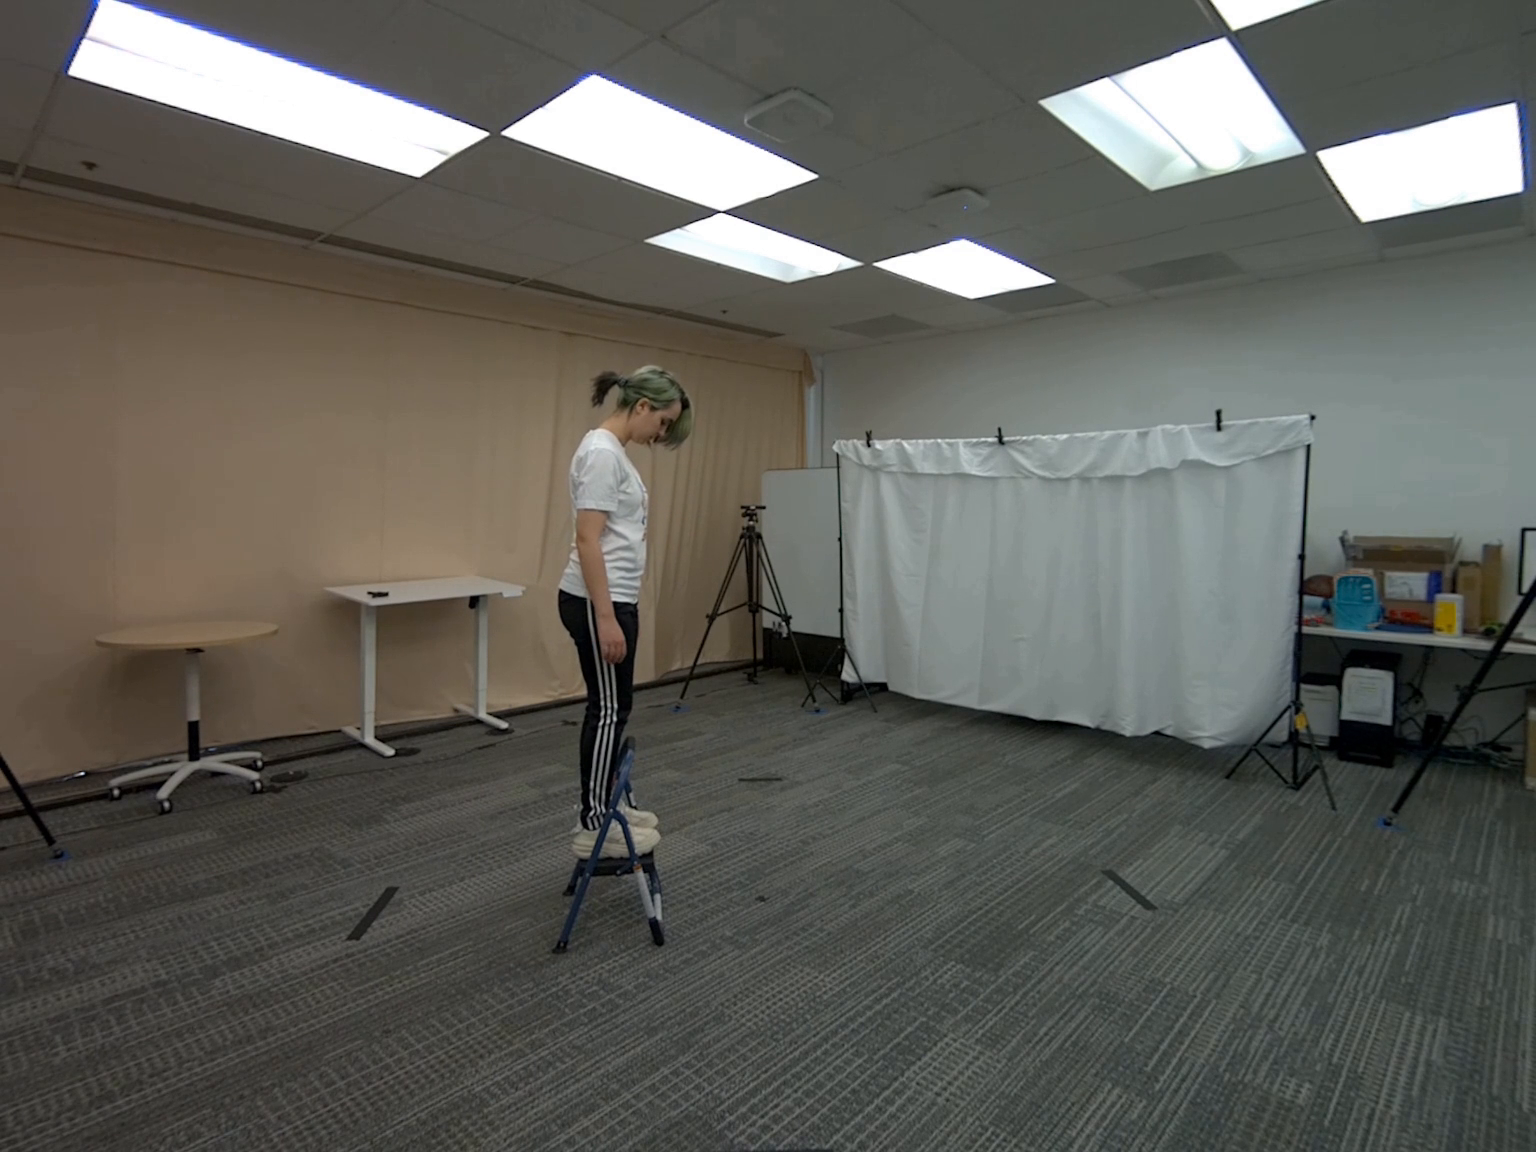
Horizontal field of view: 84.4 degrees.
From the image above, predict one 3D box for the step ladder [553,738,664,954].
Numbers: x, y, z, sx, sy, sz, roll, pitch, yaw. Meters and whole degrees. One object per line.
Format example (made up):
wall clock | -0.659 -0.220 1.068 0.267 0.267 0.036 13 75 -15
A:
step ladder | -0.531 0.862 2.836 0.347 0.605 0.435 -2 4 -8
